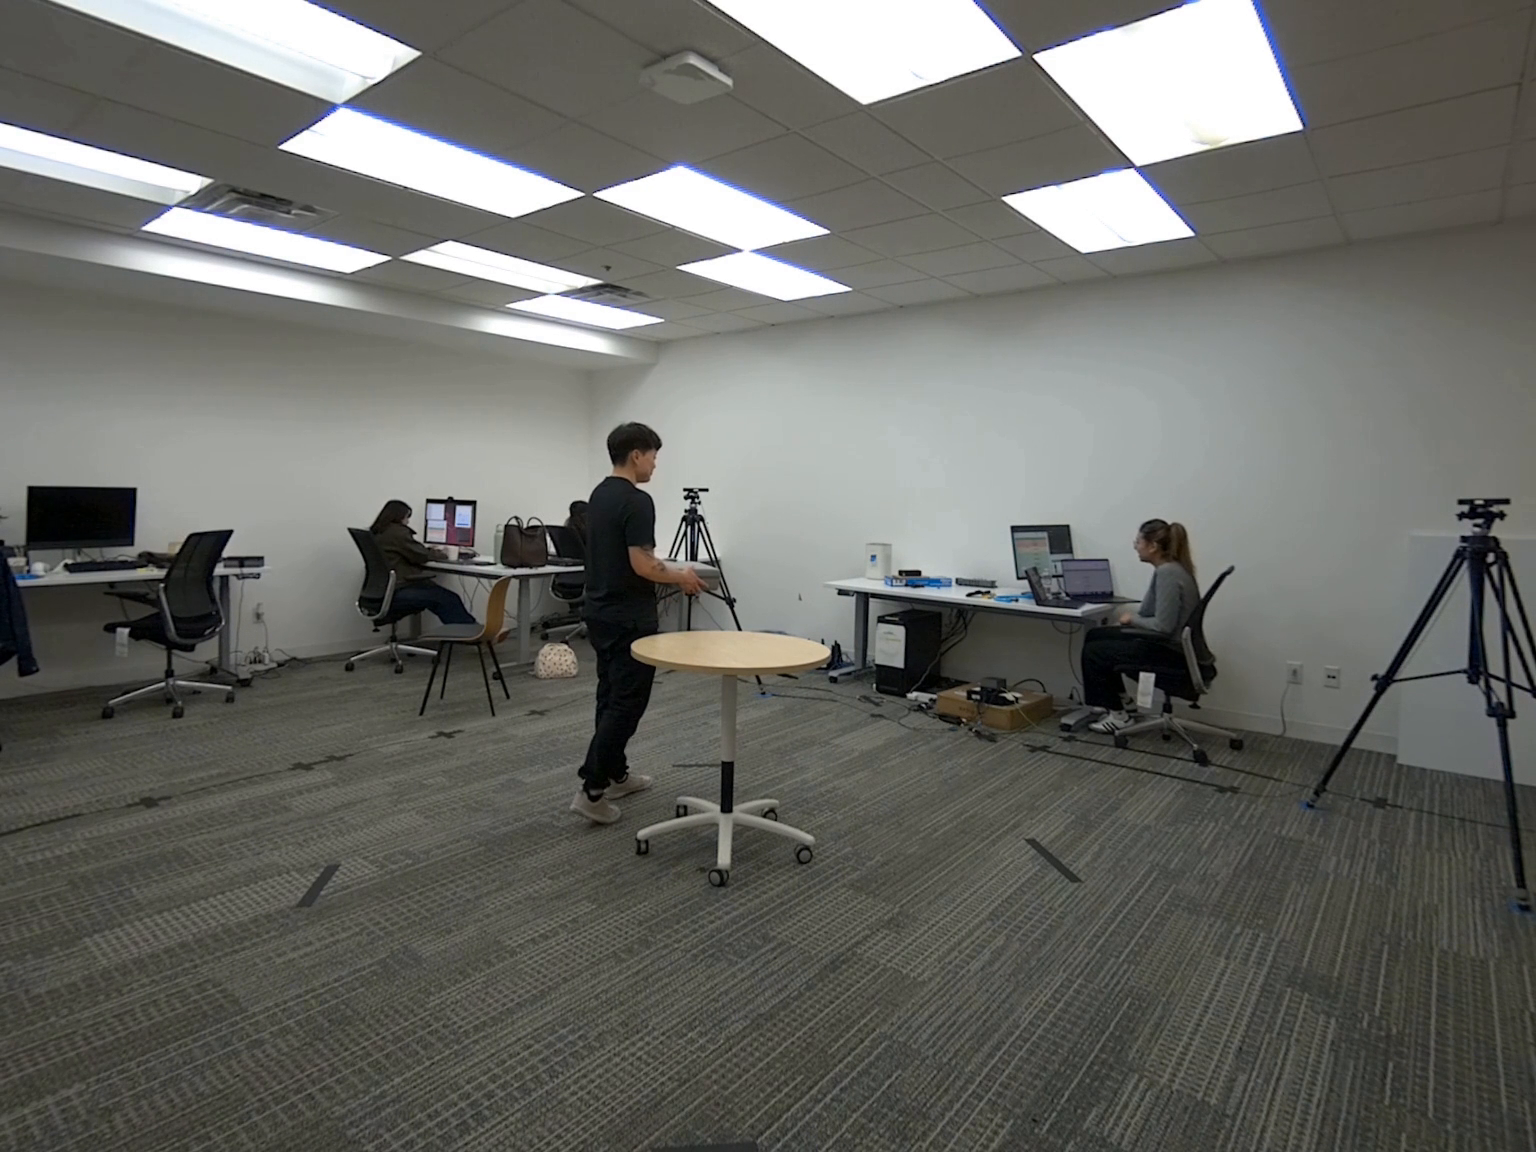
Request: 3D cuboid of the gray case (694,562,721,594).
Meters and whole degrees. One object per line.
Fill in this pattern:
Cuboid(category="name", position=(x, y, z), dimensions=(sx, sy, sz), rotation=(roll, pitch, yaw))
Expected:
Cuboid(category="gray case", position=(-0.384, -0.003, 3.893), dimensions=(0.254, 0.104, 0.265), rotation=(2, 7, -27))
